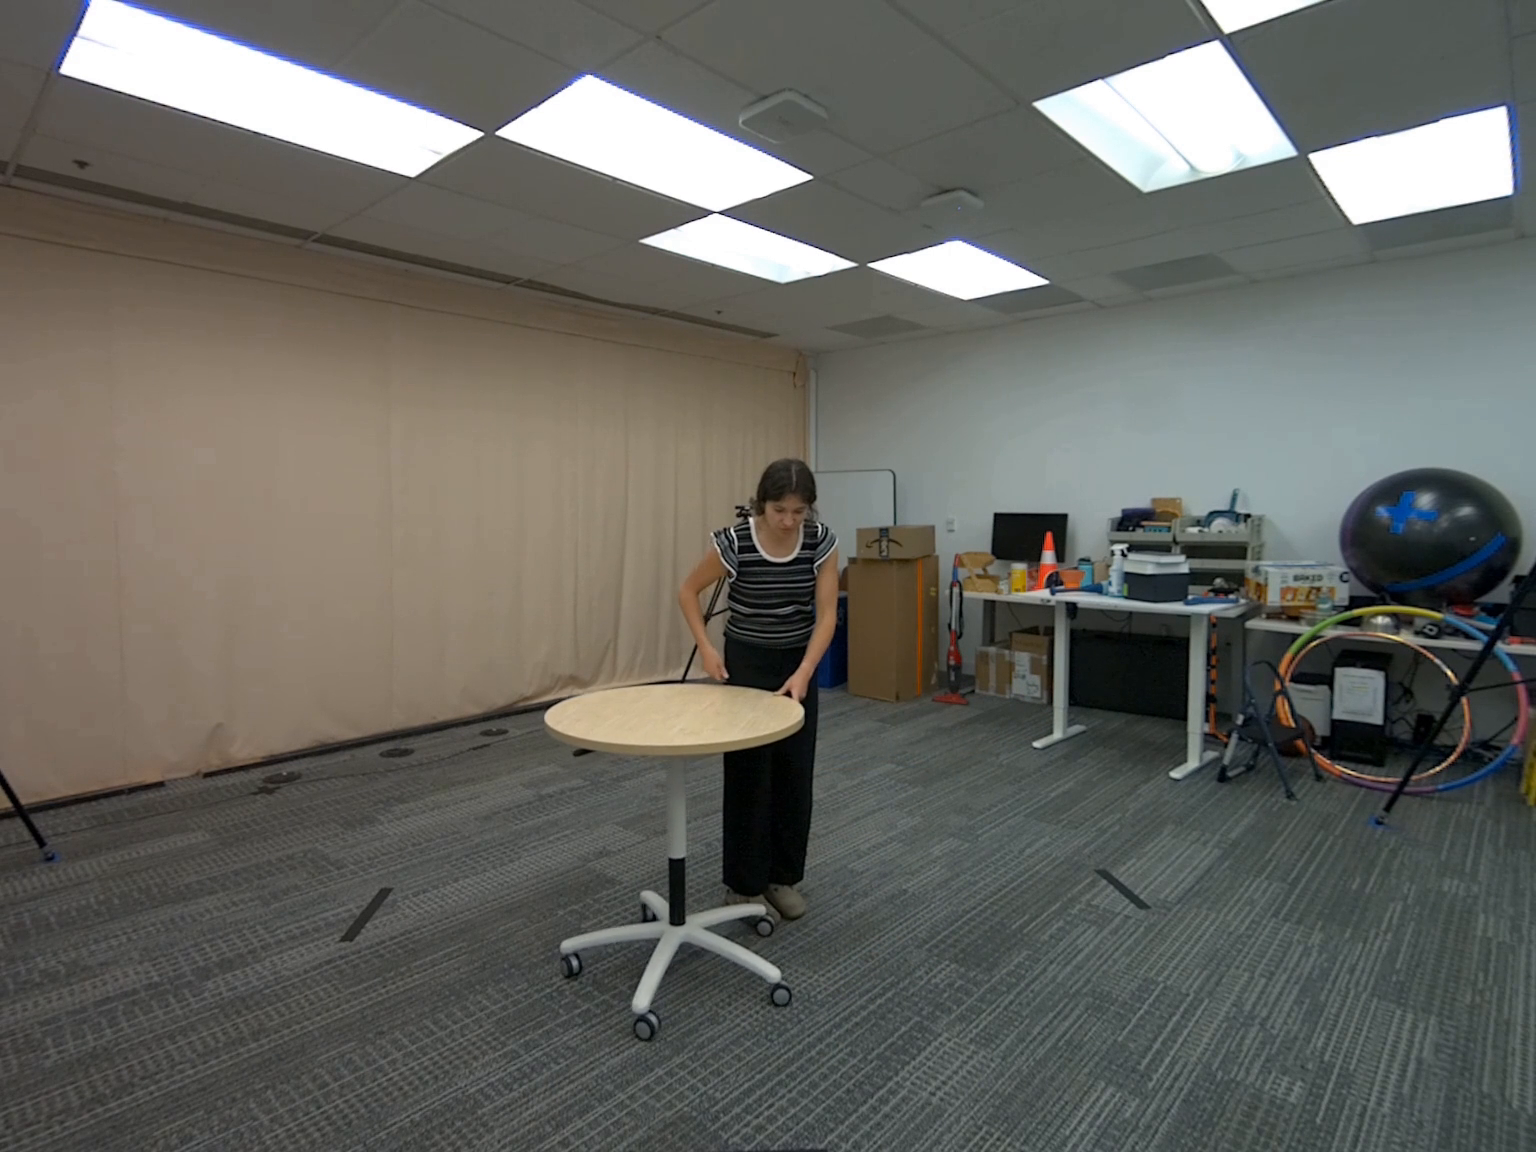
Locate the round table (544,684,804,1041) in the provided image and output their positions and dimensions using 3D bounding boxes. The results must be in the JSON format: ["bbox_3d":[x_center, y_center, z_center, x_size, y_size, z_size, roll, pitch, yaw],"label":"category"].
[{"bbox_3d":[-0.258,0.788,2.521,0.784,0.785,0.788,-1,4,-2],"label":"round table"}]
